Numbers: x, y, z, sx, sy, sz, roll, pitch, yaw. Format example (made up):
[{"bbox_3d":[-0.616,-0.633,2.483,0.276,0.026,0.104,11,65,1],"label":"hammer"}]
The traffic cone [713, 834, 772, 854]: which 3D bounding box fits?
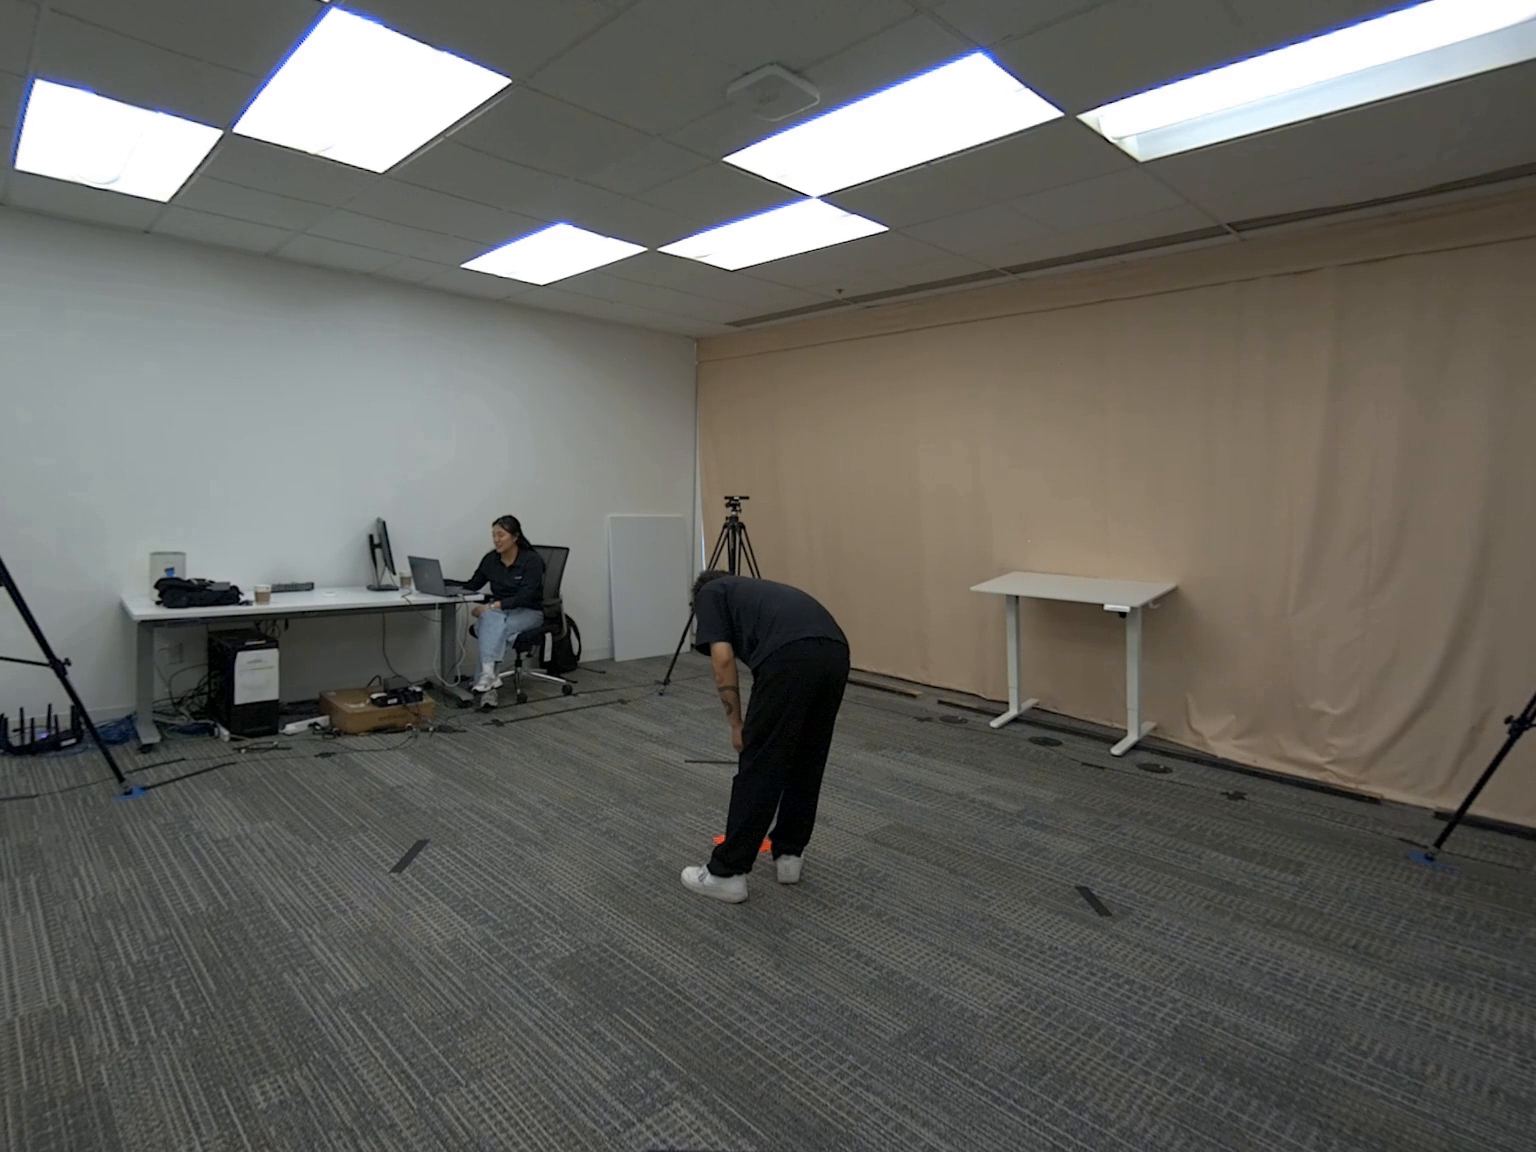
[{"bbox_3d":[-0.086,0.900,3.396,0.200,0.383,0.208,2,3,-34],"label":"traffic cone"}]
